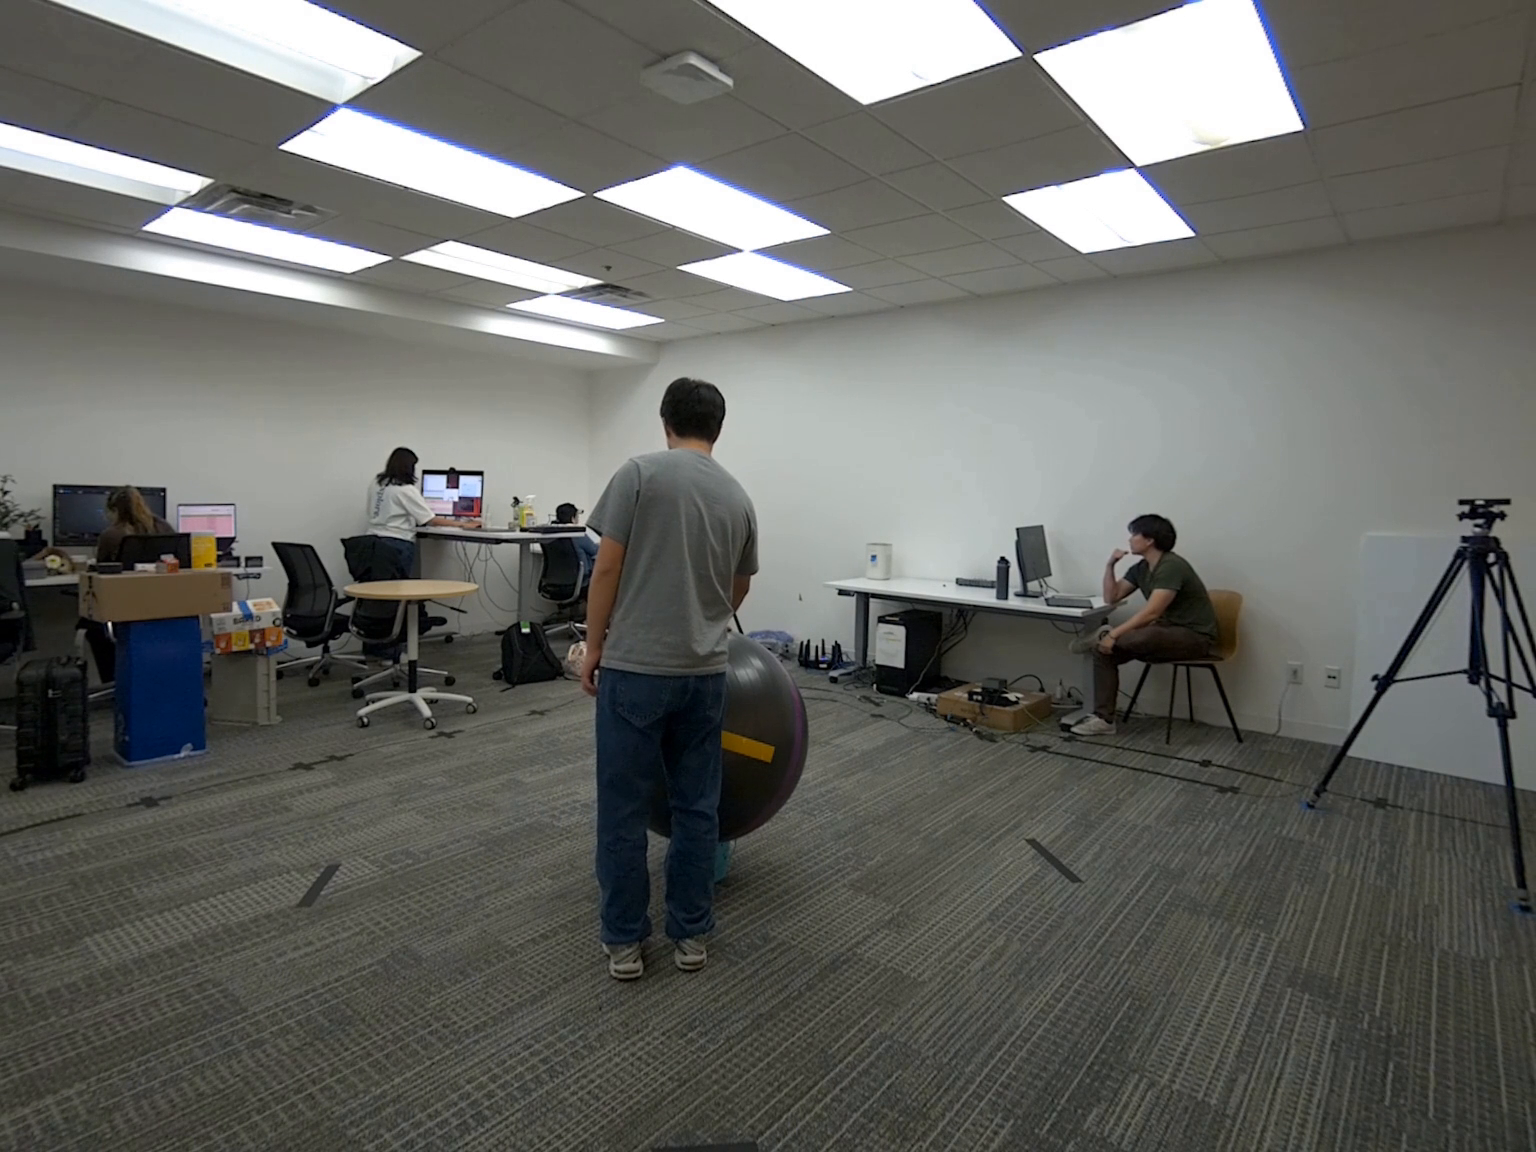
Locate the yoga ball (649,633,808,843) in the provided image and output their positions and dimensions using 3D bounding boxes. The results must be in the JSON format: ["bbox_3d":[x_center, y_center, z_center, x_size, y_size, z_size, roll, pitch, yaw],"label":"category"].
[{"bbox_3d":[-0.246,0.560,3.060,0.757,0.755,0.762,1,4,-2],"label":"yoga ball"}]
